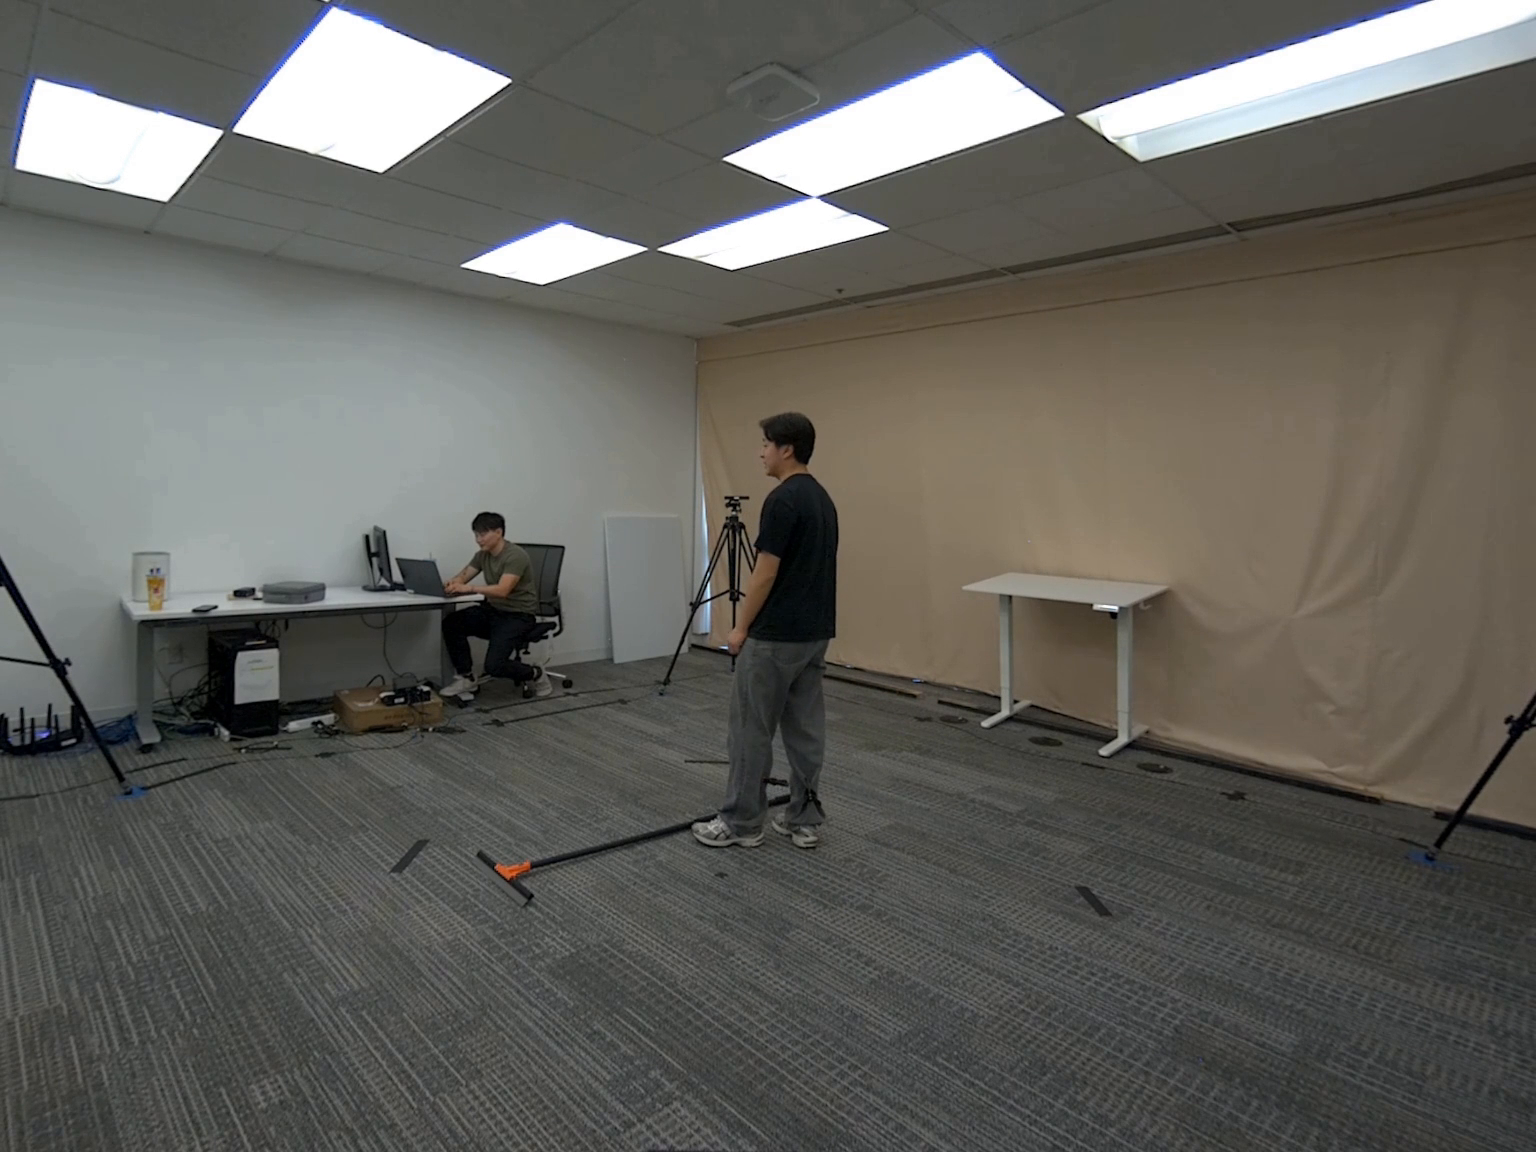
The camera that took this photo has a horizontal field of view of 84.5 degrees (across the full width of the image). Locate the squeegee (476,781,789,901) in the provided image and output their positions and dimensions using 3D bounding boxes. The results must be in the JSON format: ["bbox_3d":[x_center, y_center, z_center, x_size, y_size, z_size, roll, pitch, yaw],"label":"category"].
[{"bbox_3d":[-0.399,1.028,3.465,1.502,0.053,0.449,-2,7,-40],"label":"squeegee"}]
